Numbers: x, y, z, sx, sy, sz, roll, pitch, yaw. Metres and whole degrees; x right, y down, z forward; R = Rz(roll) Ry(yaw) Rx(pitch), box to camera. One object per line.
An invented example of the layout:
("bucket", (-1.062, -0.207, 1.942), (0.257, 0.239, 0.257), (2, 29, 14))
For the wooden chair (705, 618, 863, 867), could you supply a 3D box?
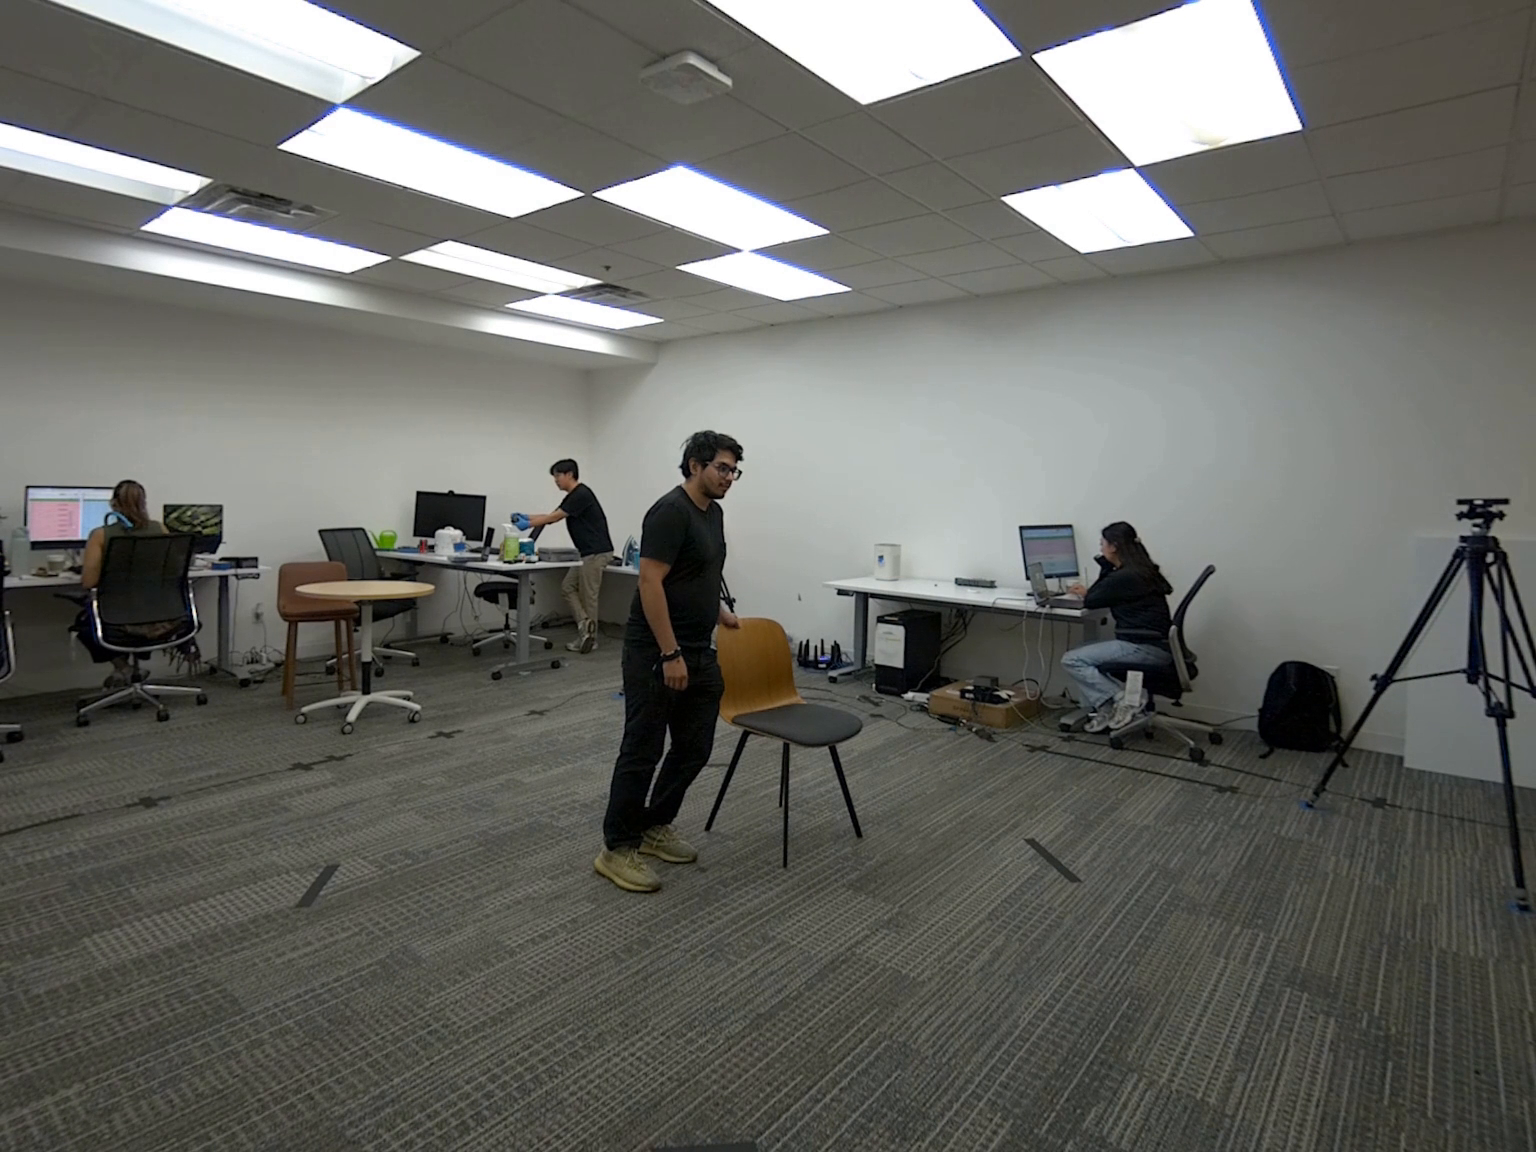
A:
("wooden chair", (0.072, 0.619, 3.416), (0.463, 0.877, 0.539), (-2, 0, -44))
